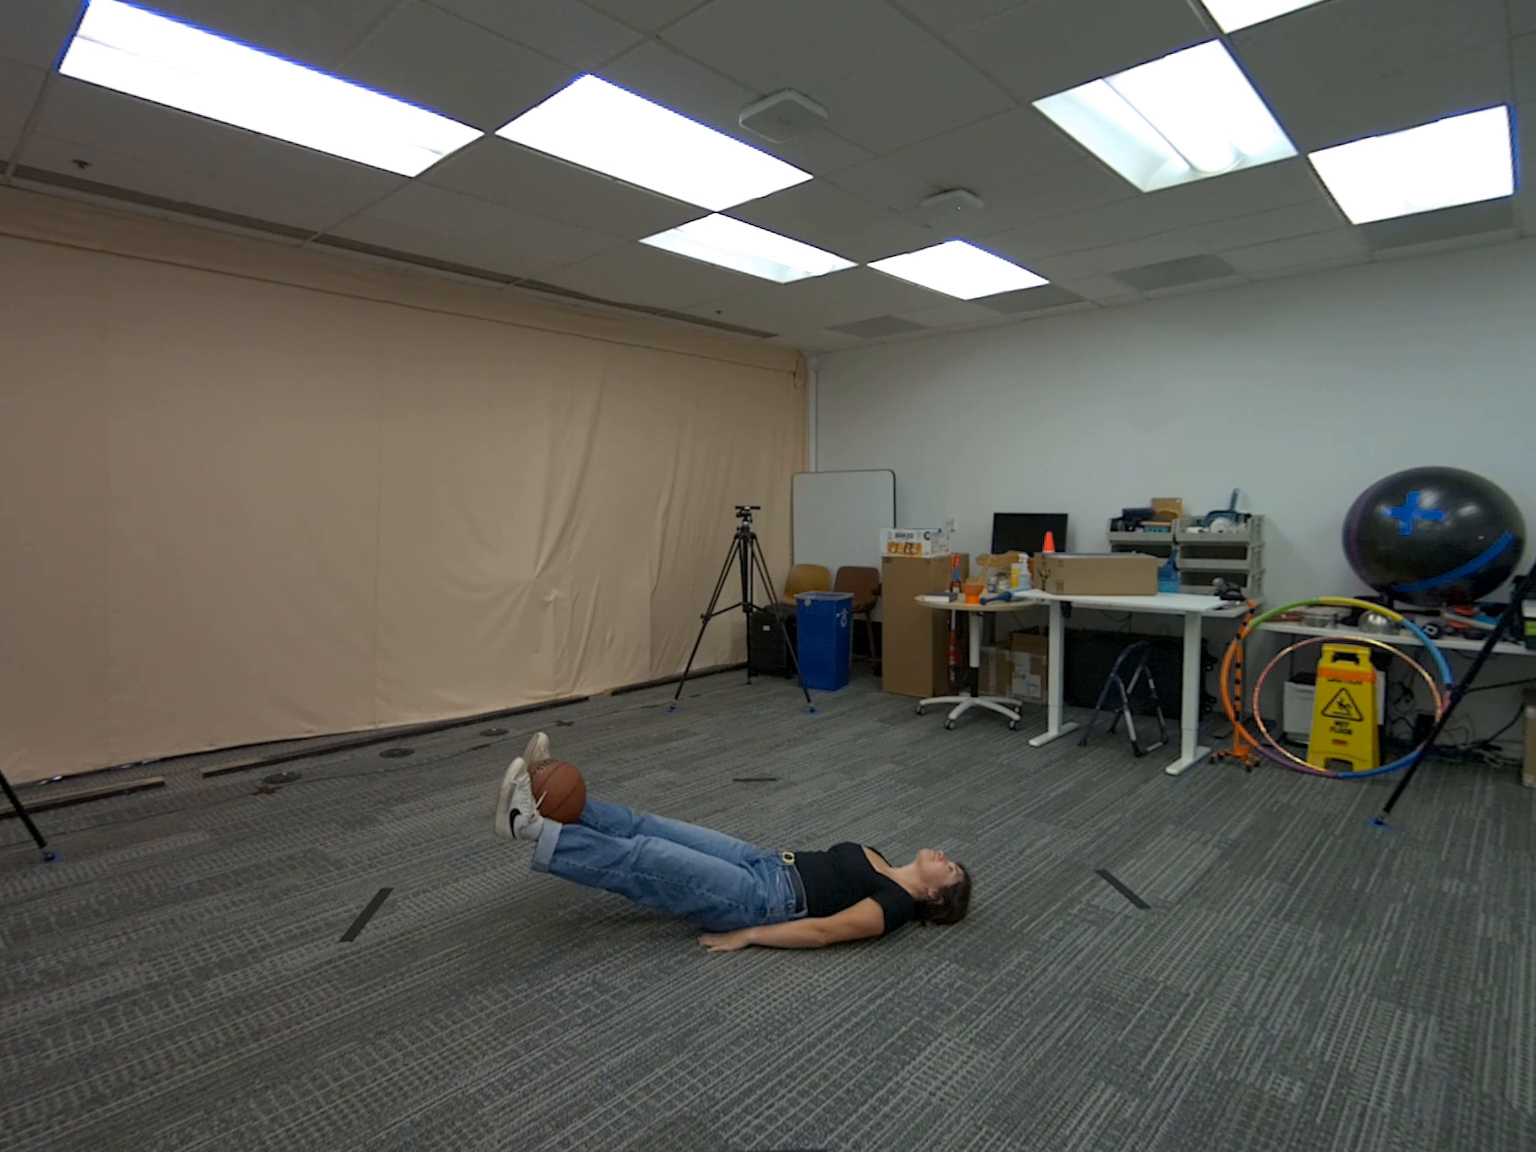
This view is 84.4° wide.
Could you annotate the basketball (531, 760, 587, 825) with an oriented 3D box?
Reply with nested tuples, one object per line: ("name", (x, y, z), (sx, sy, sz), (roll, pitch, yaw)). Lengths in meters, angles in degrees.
("basketball", (-0.715, 0.725, 2.772), (0.236, 0.235, 0.237), (0, 4, -2))
